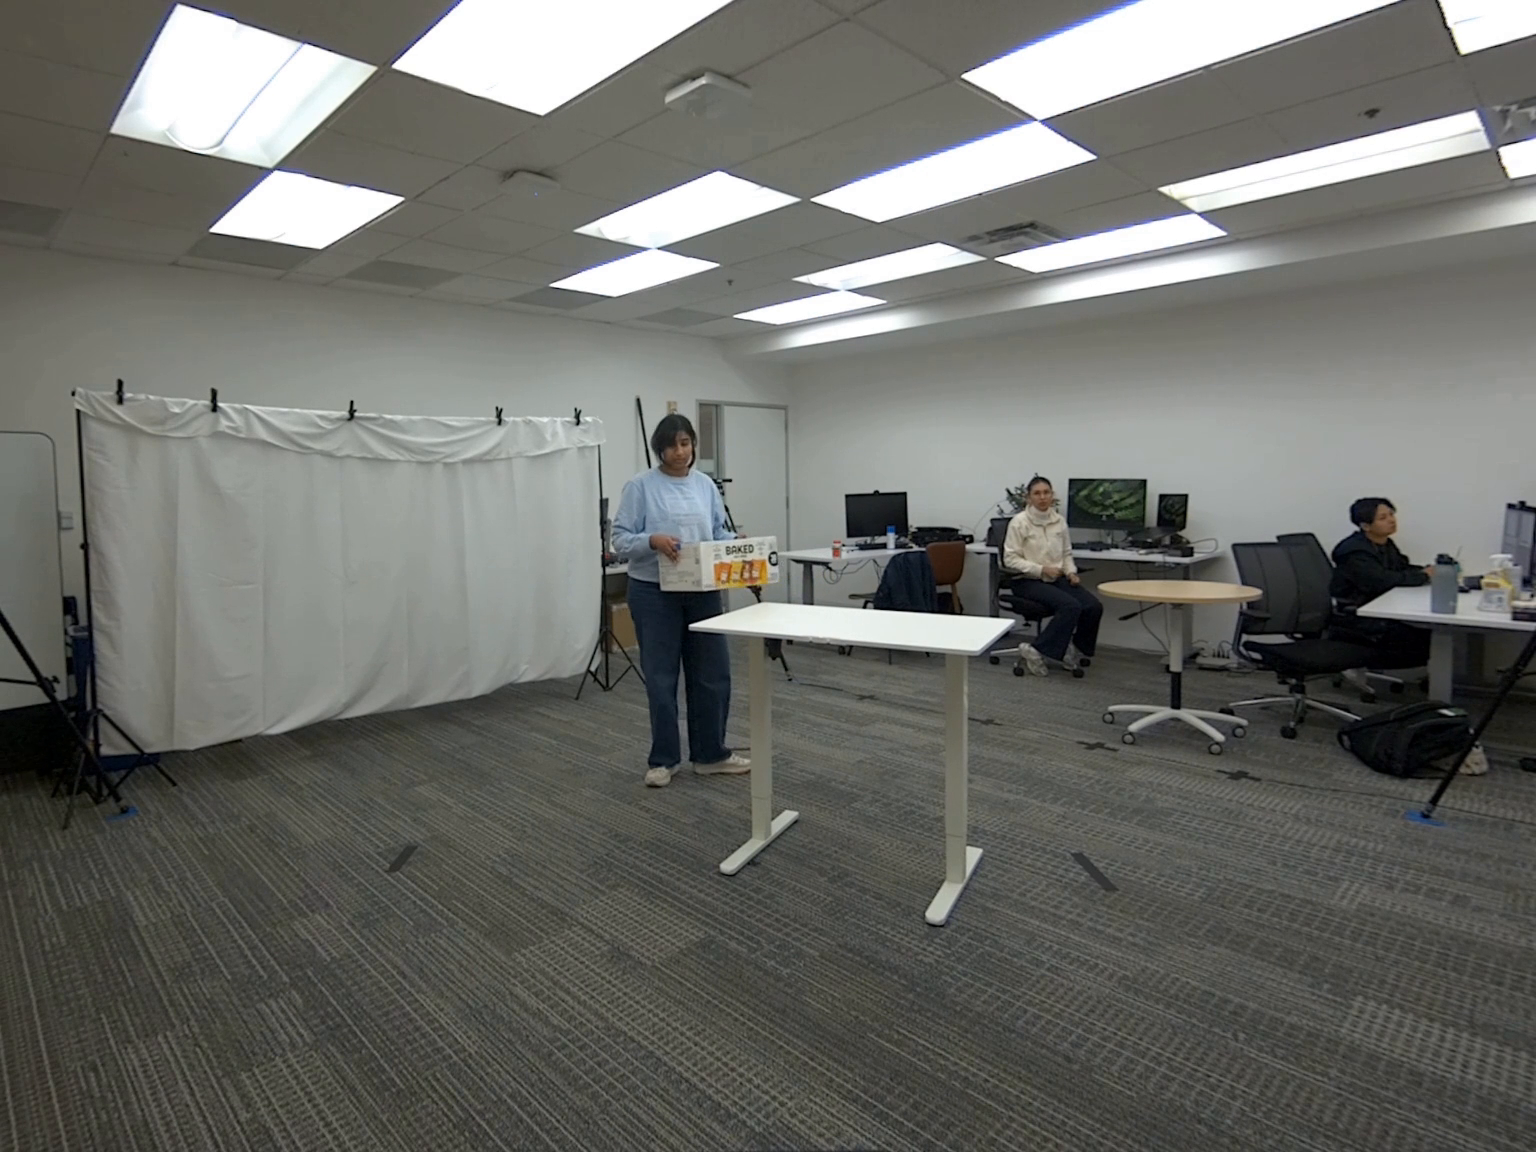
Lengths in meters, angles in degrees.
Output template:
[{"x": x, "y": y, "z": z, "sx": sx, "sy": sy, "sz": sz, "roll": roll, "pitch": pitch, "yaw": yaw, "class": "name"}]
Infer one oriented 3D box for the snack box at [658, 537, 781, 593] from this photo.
[{"x": -0.221, "y": -0.051, "z": 3.726, "sx": 0.395, "sy": 0.205, "sz": 0.349, "roll": -6, "pitch": 2, "yaw": -36, "class": "snack box"}]
